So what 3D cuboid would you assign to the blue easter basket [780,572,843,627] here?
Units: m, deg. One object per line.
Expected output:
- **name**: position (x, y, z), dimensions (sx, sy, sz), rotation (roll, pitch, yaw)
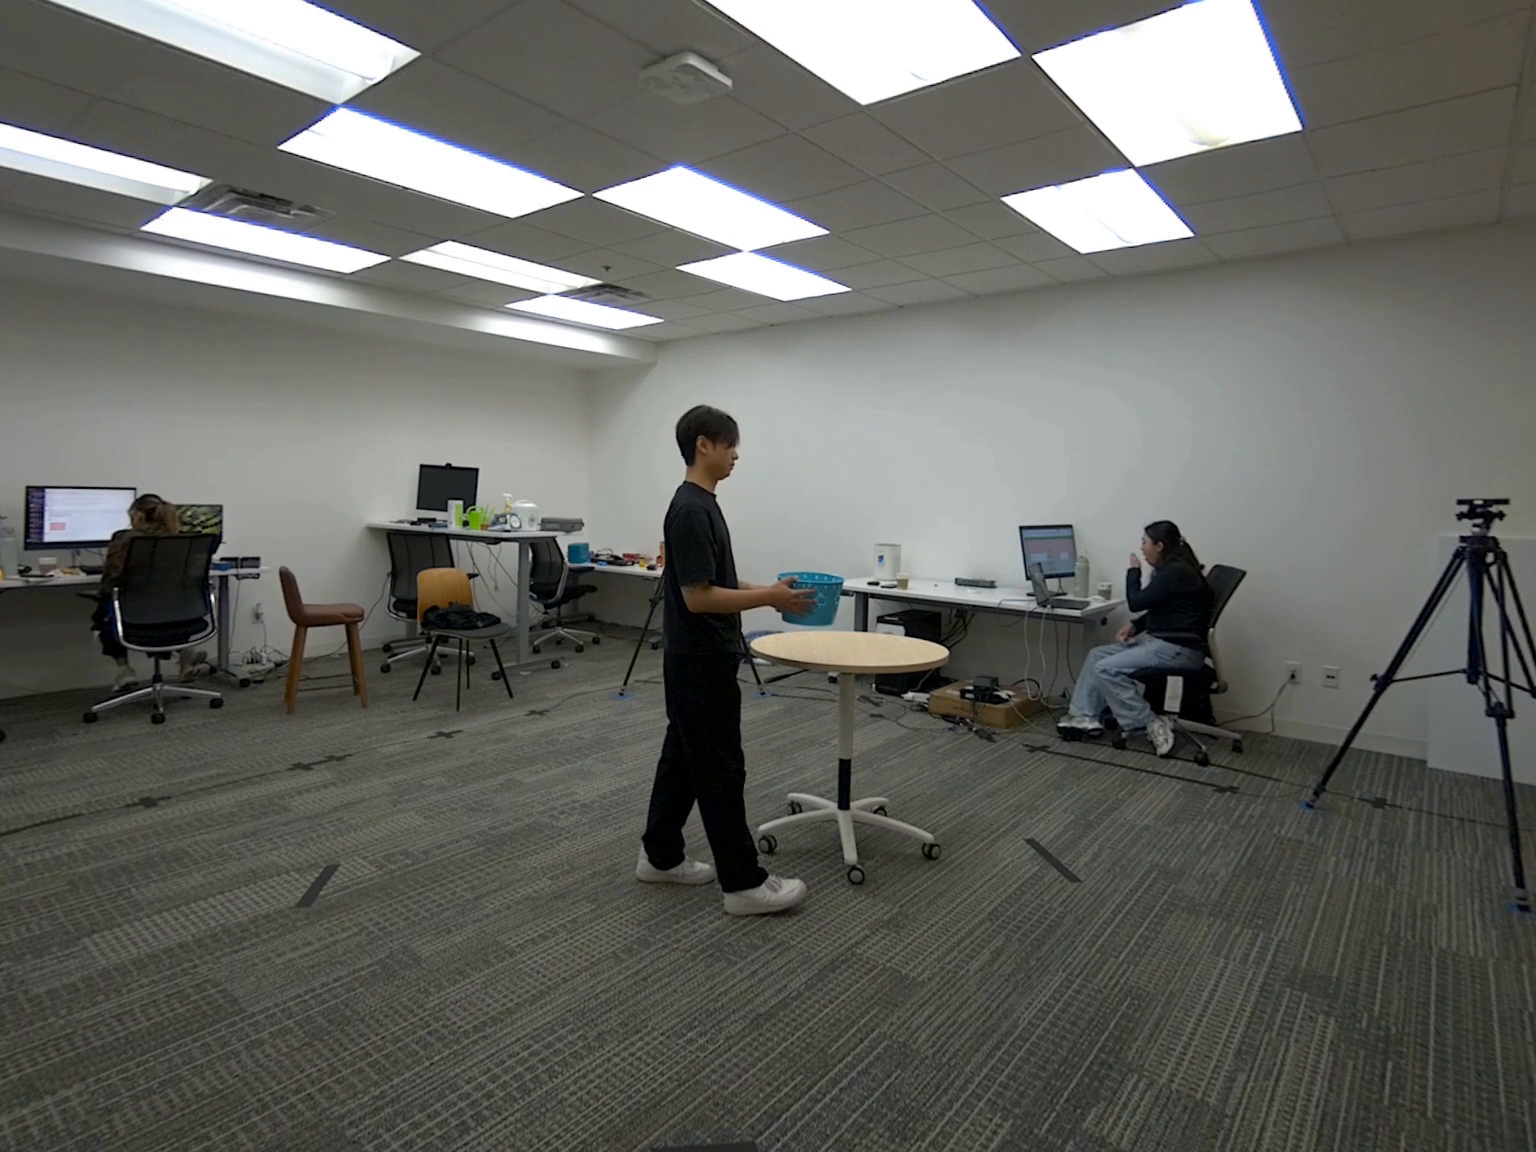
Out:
- **blue easter basket**: position (0.125, 0.082, 2.898), dimensions (0.243, 0.155, 0.245), rotation (2, 8, -2)
